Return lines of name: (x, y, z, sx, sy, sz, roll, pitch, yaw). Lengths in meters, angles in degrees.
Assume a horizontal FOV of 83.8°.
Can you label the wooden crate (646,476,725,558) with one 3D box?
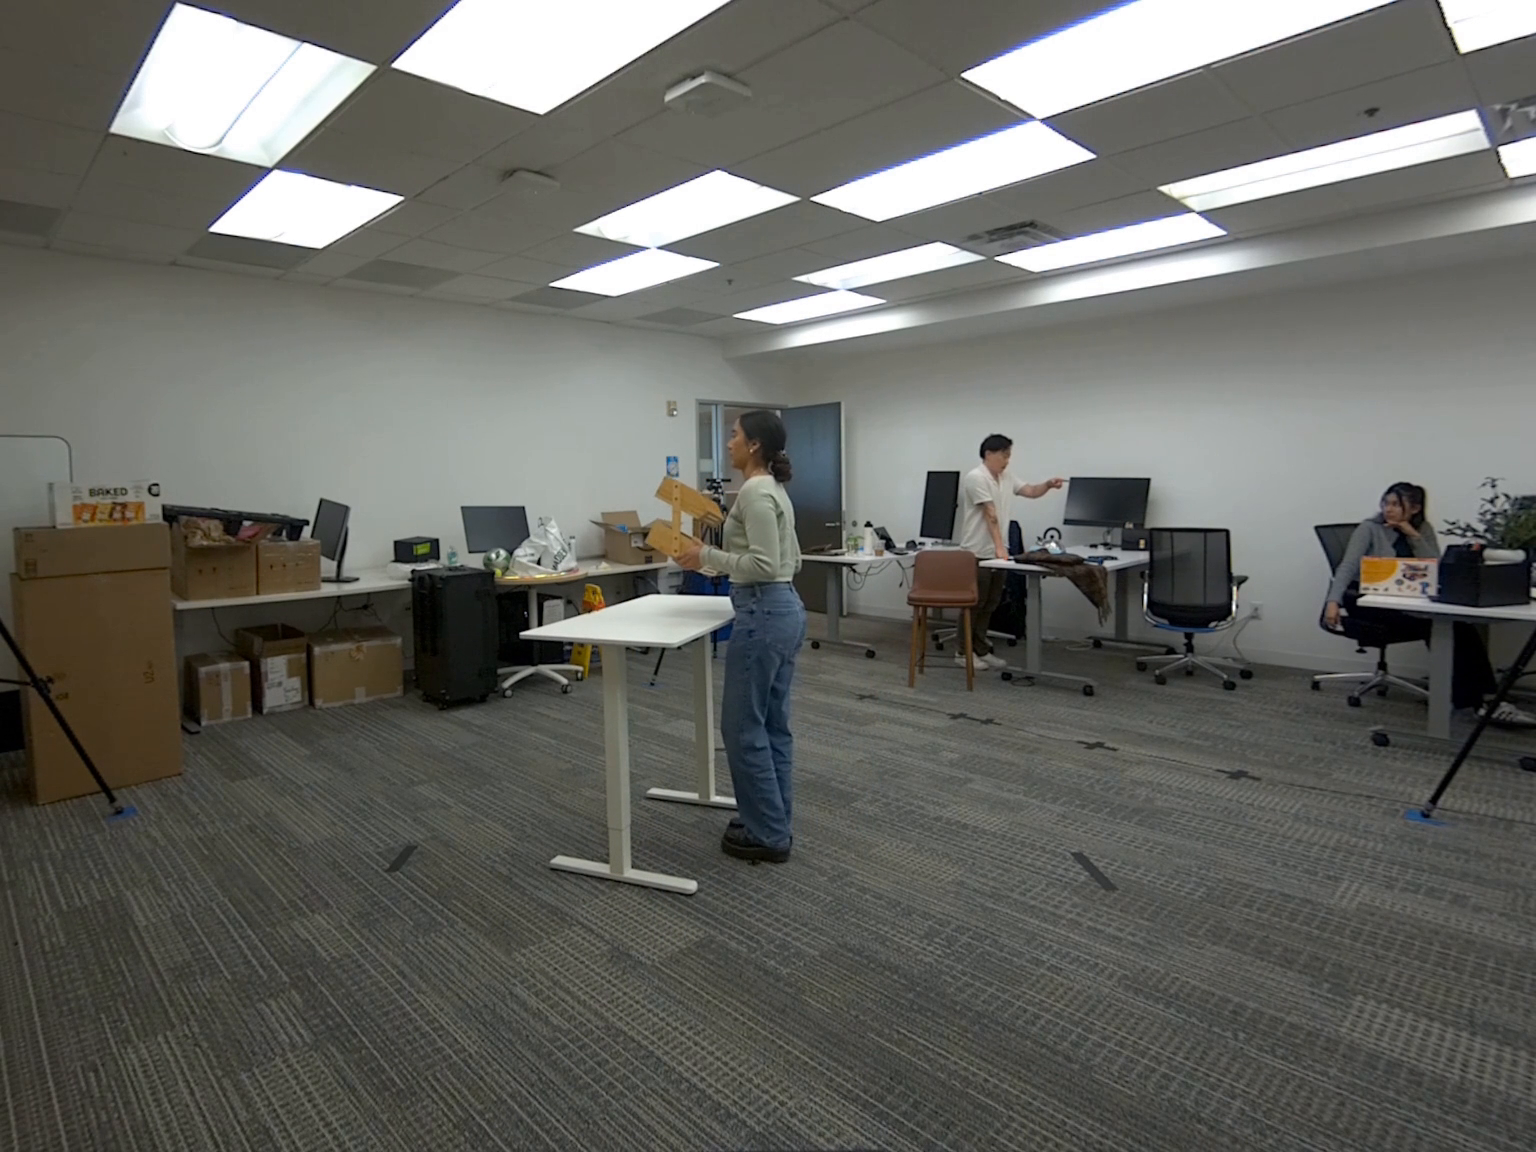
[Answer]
wooden crate: (-0.285, -0.189, 3.291, 0.306, 0.273, 0.320, 28, 0, 9)
